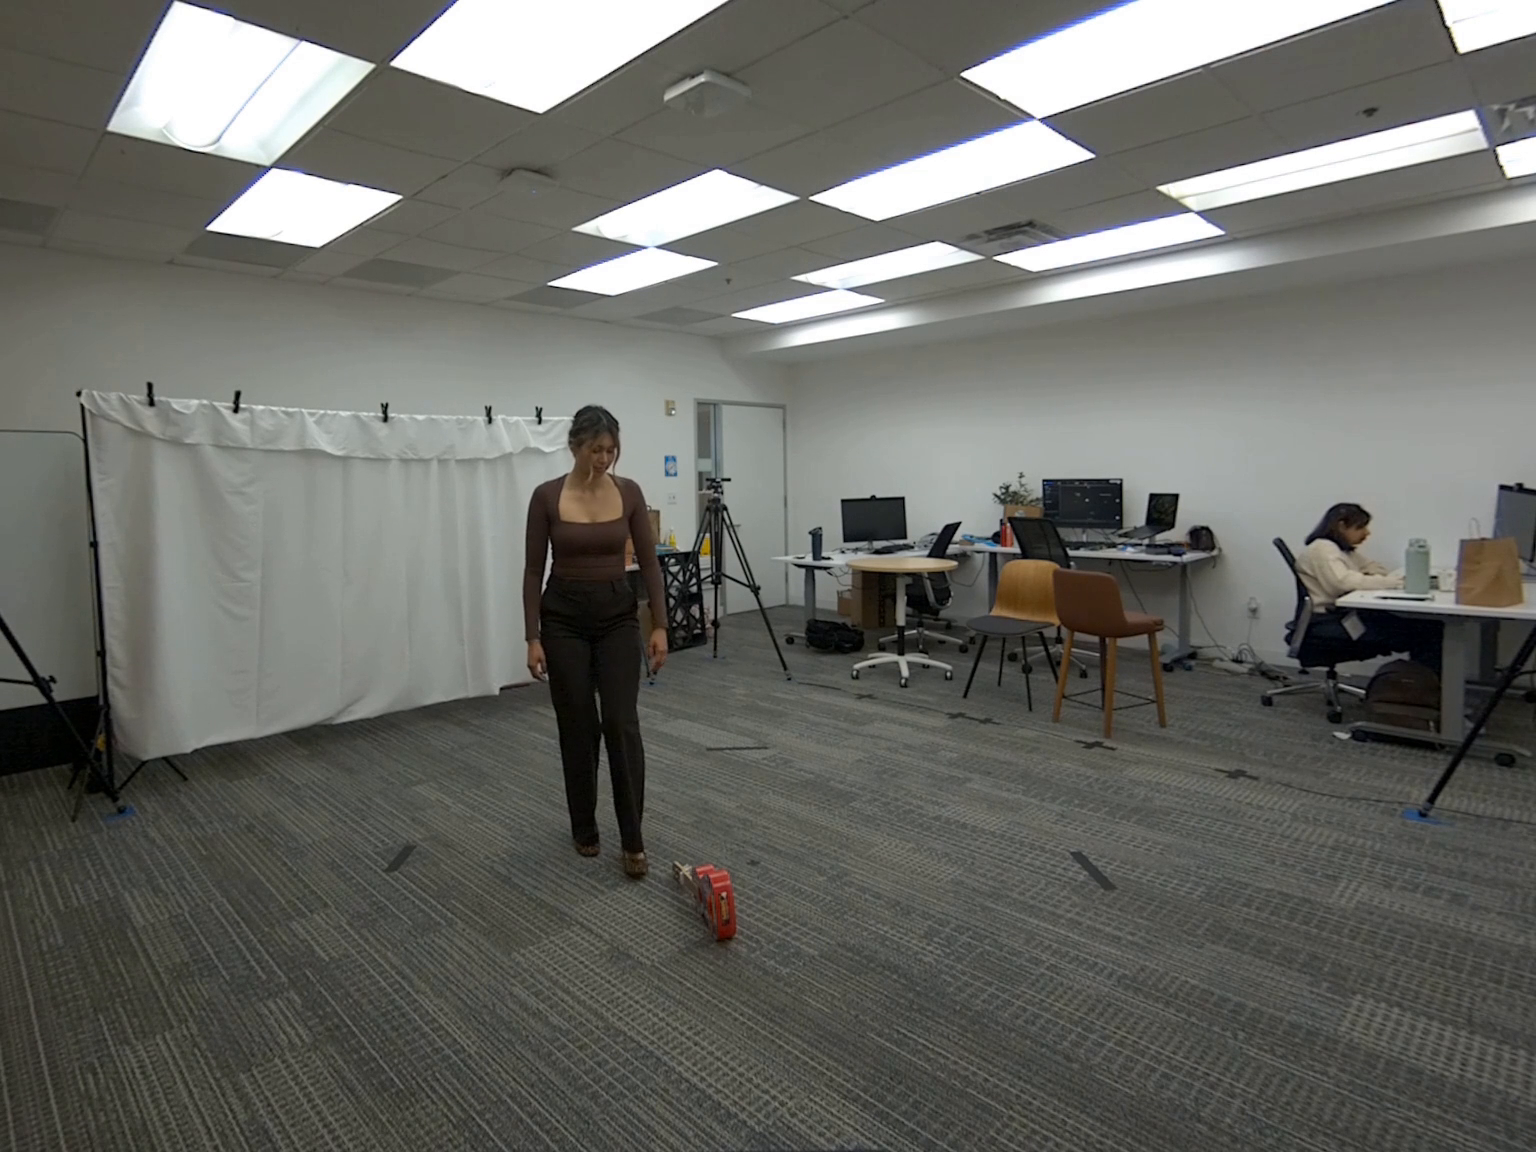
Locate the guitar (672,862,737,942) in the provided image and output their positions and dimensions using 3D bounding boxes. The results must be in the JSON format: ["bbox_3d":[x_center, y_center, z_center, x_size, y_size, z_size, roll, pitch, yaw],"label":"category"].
[{"bbox_3d":[-0.220,0.985,2.784,0.069,0.192,0.509,-6,7,-20],"label":"guitar"}]
